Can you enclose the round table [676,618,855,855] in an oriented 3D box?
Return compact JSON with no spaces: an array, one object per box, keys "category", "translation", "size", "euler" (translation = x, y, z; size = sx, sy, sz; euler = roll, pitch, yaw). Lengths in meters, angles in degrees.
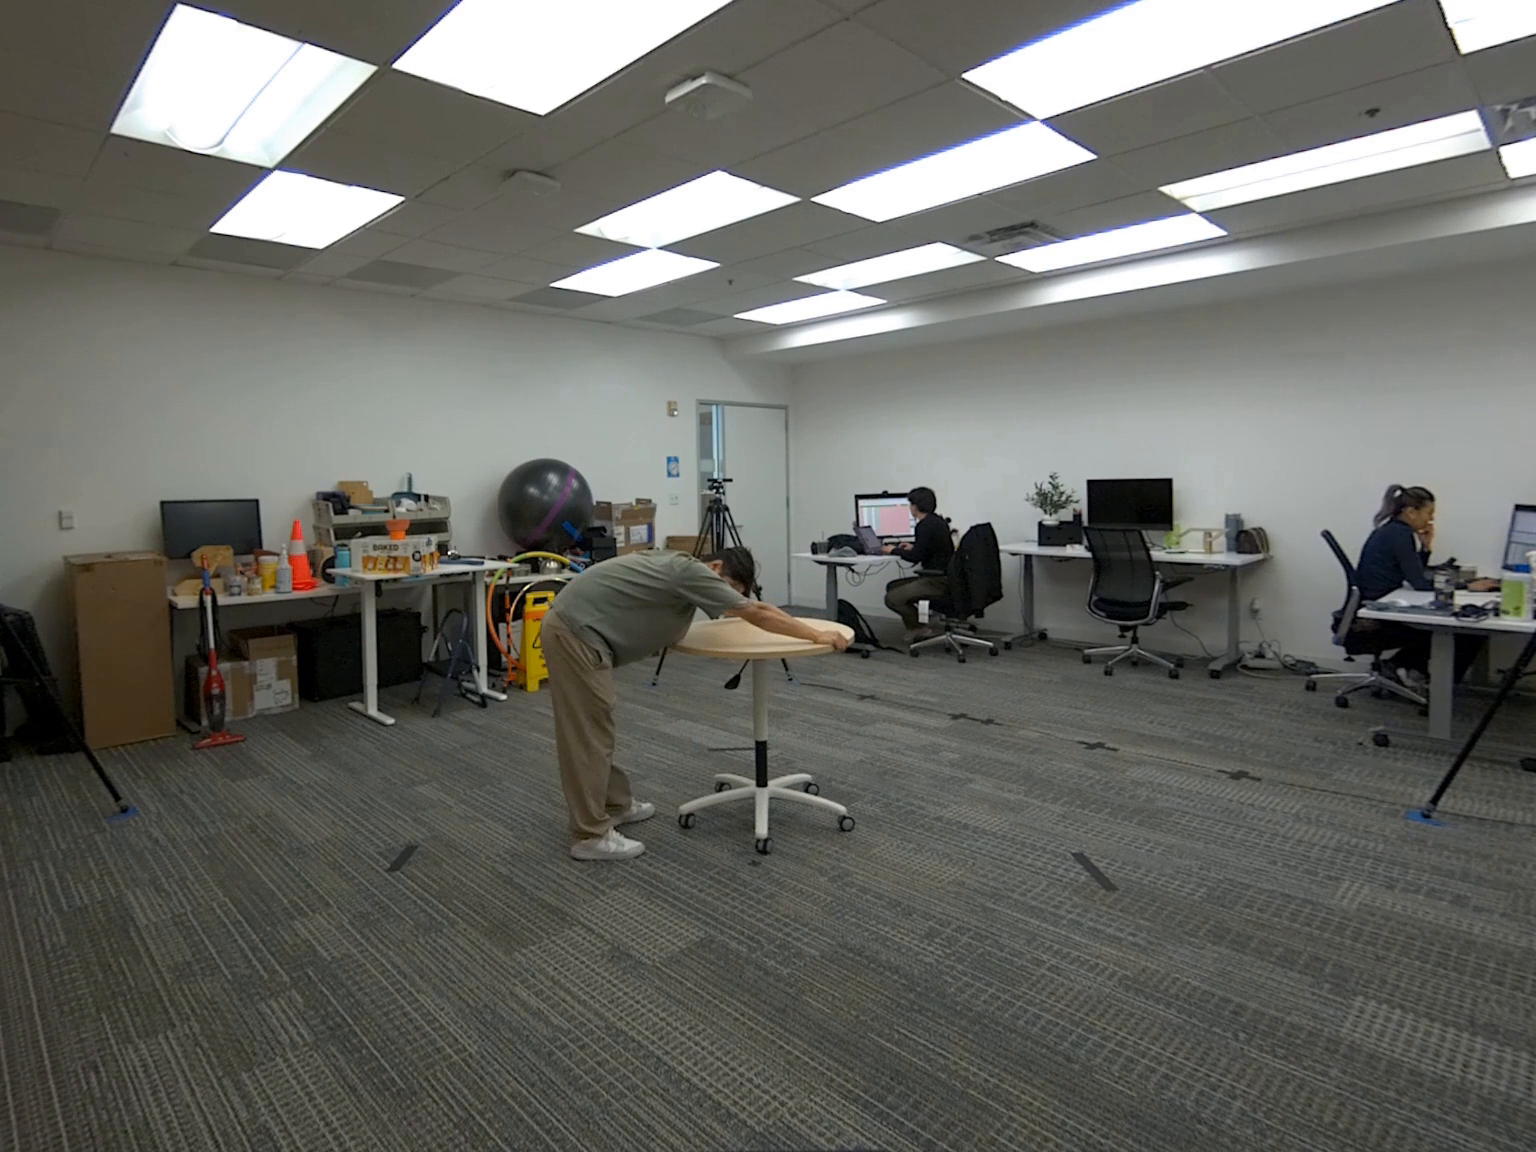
[{"category":"round table","translation":[-0.025,0.613,3.506],"size":[0.784,0.783,0.790],"euler":[-1,6,-2]}]
